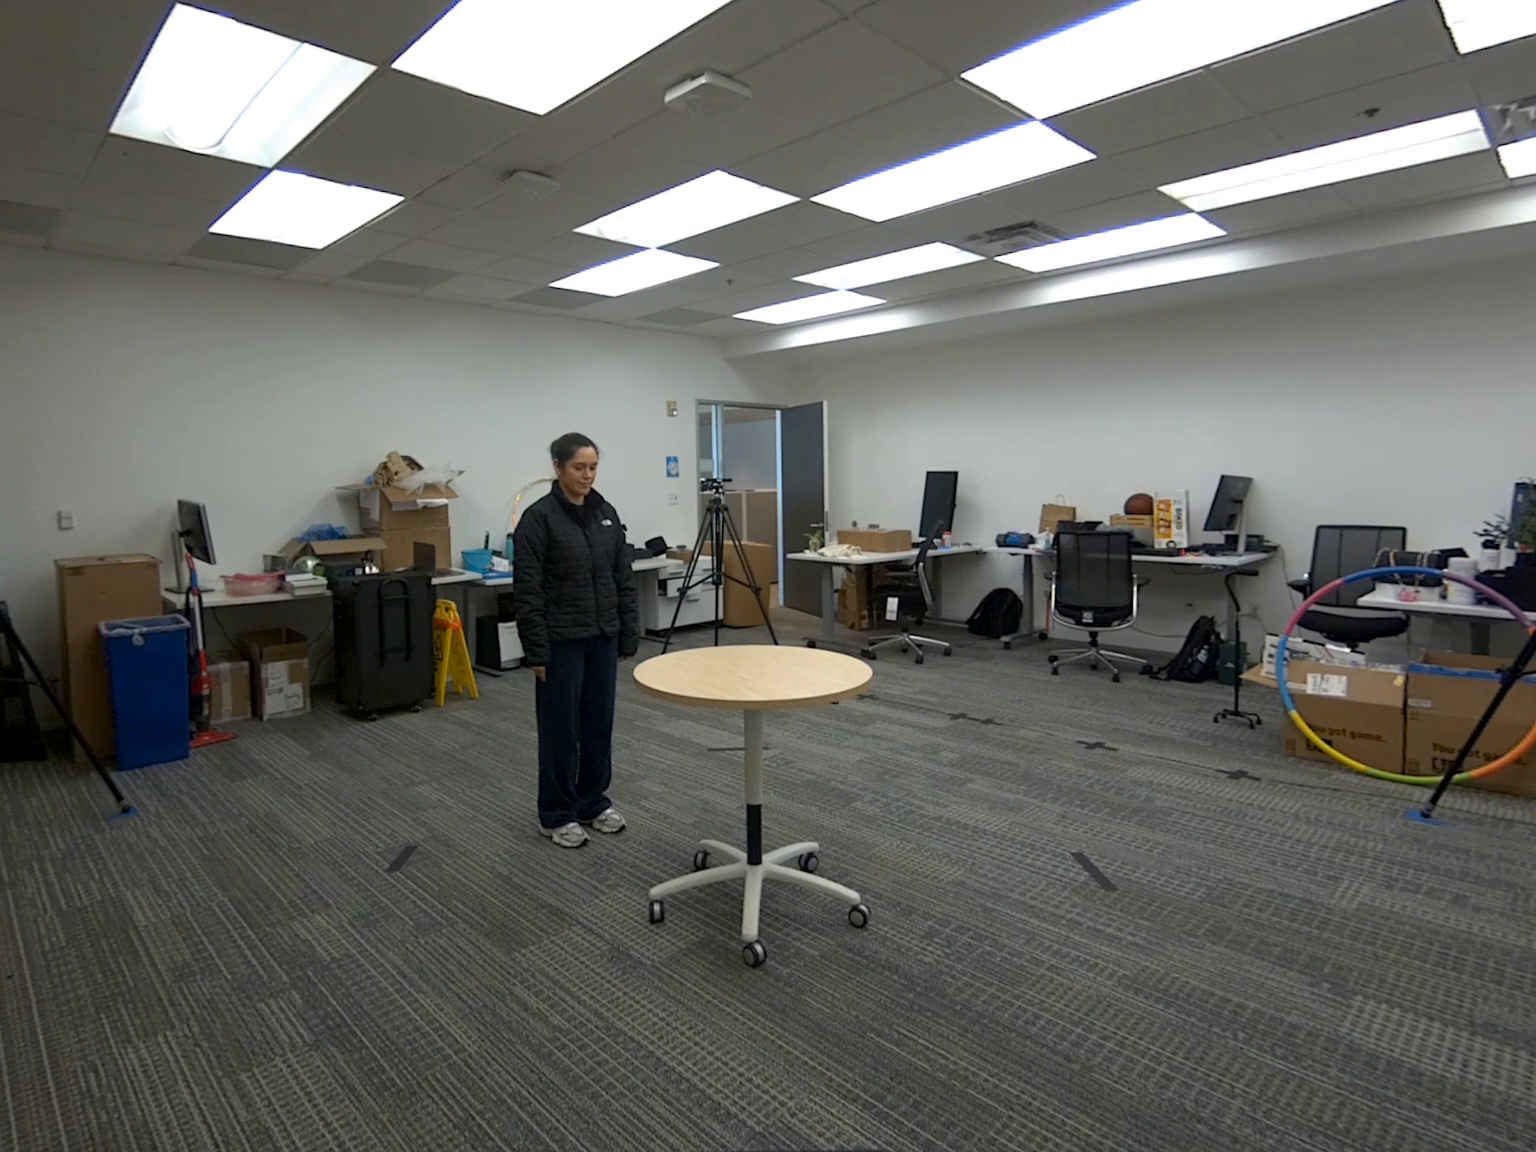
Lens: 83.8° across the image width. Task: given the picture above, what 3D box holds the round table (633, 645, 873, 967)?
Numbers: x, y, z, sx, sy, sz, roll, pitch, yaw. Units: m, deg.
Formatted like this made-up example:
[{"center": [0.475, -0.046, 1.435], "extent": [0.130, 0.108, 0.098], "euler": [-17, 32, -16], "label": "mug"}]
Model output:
[{"center": [-0.058, 0.687, 2.794], "extent": [0.784, 0.783, 0.789], "euler": [-1, 5, -2], "label": "round table"}]
